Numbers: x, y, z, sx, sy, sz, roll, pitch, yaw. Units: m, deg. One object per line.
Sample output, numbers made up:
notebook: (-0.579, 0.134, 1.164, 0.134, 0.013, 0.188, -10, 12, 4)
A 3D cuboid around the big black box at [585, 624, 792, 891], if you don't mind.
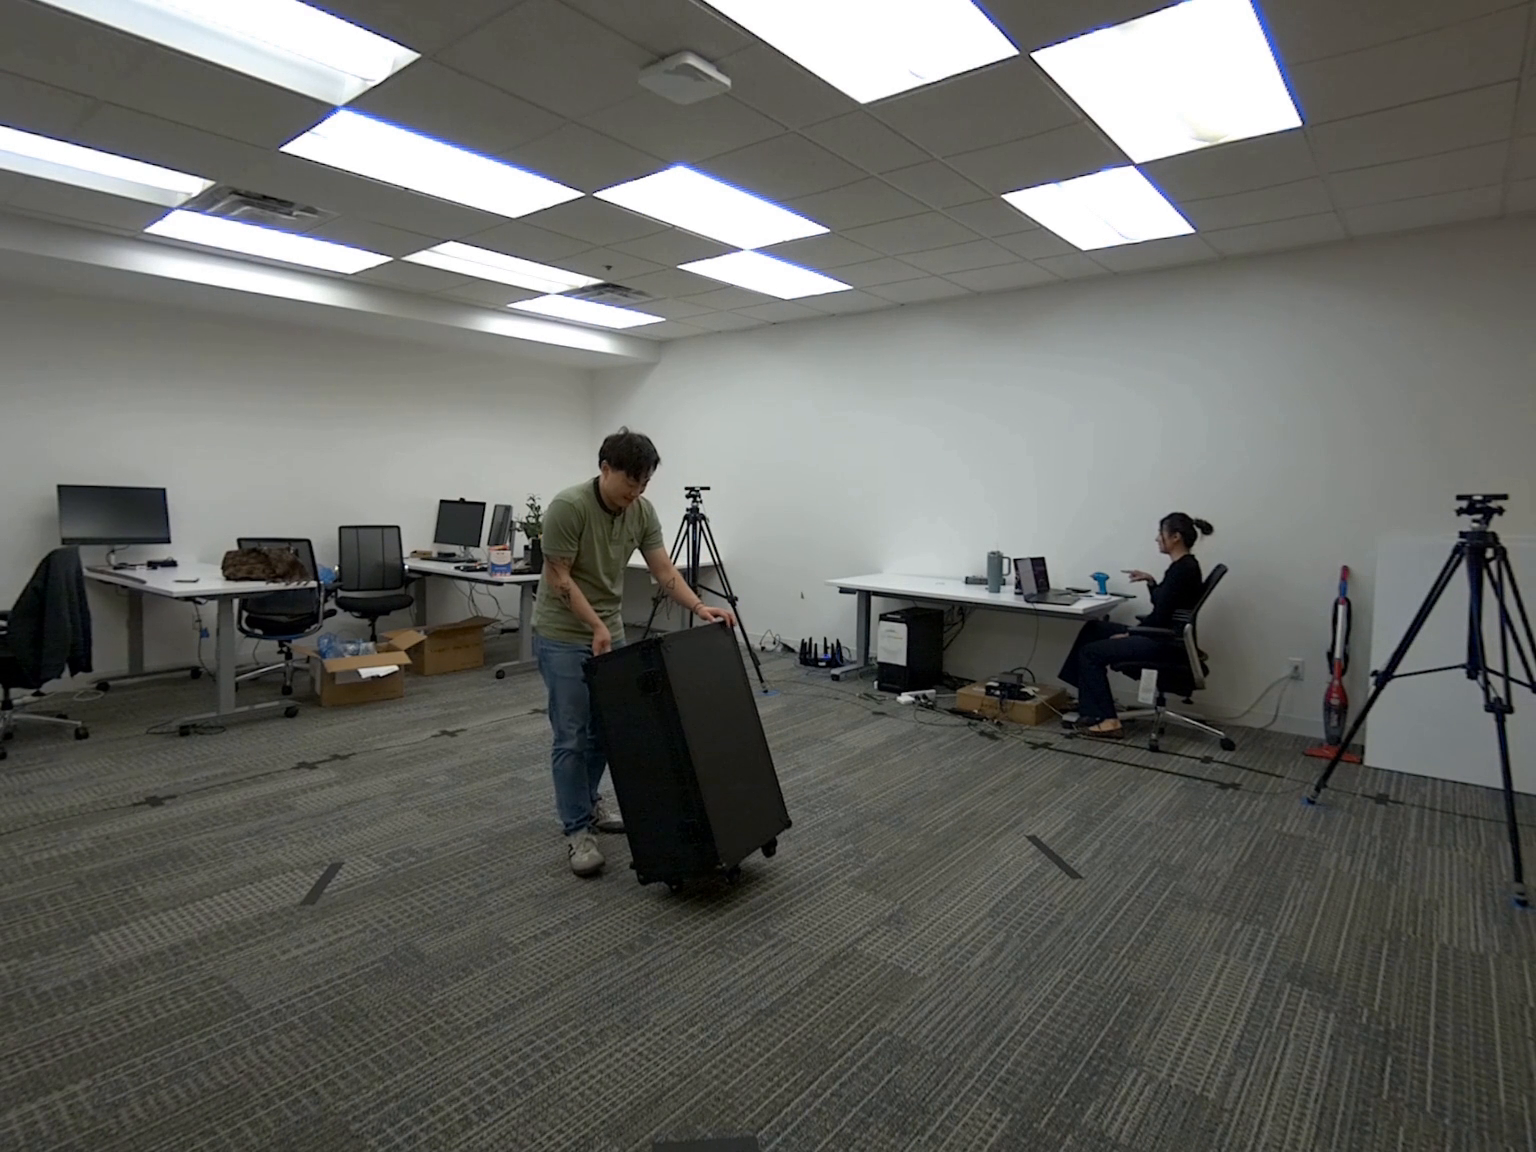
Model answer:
big black box: (-0.296, 0.636, 3.026, 0.403, 0.870, 0.508, -22, -9, 29)
